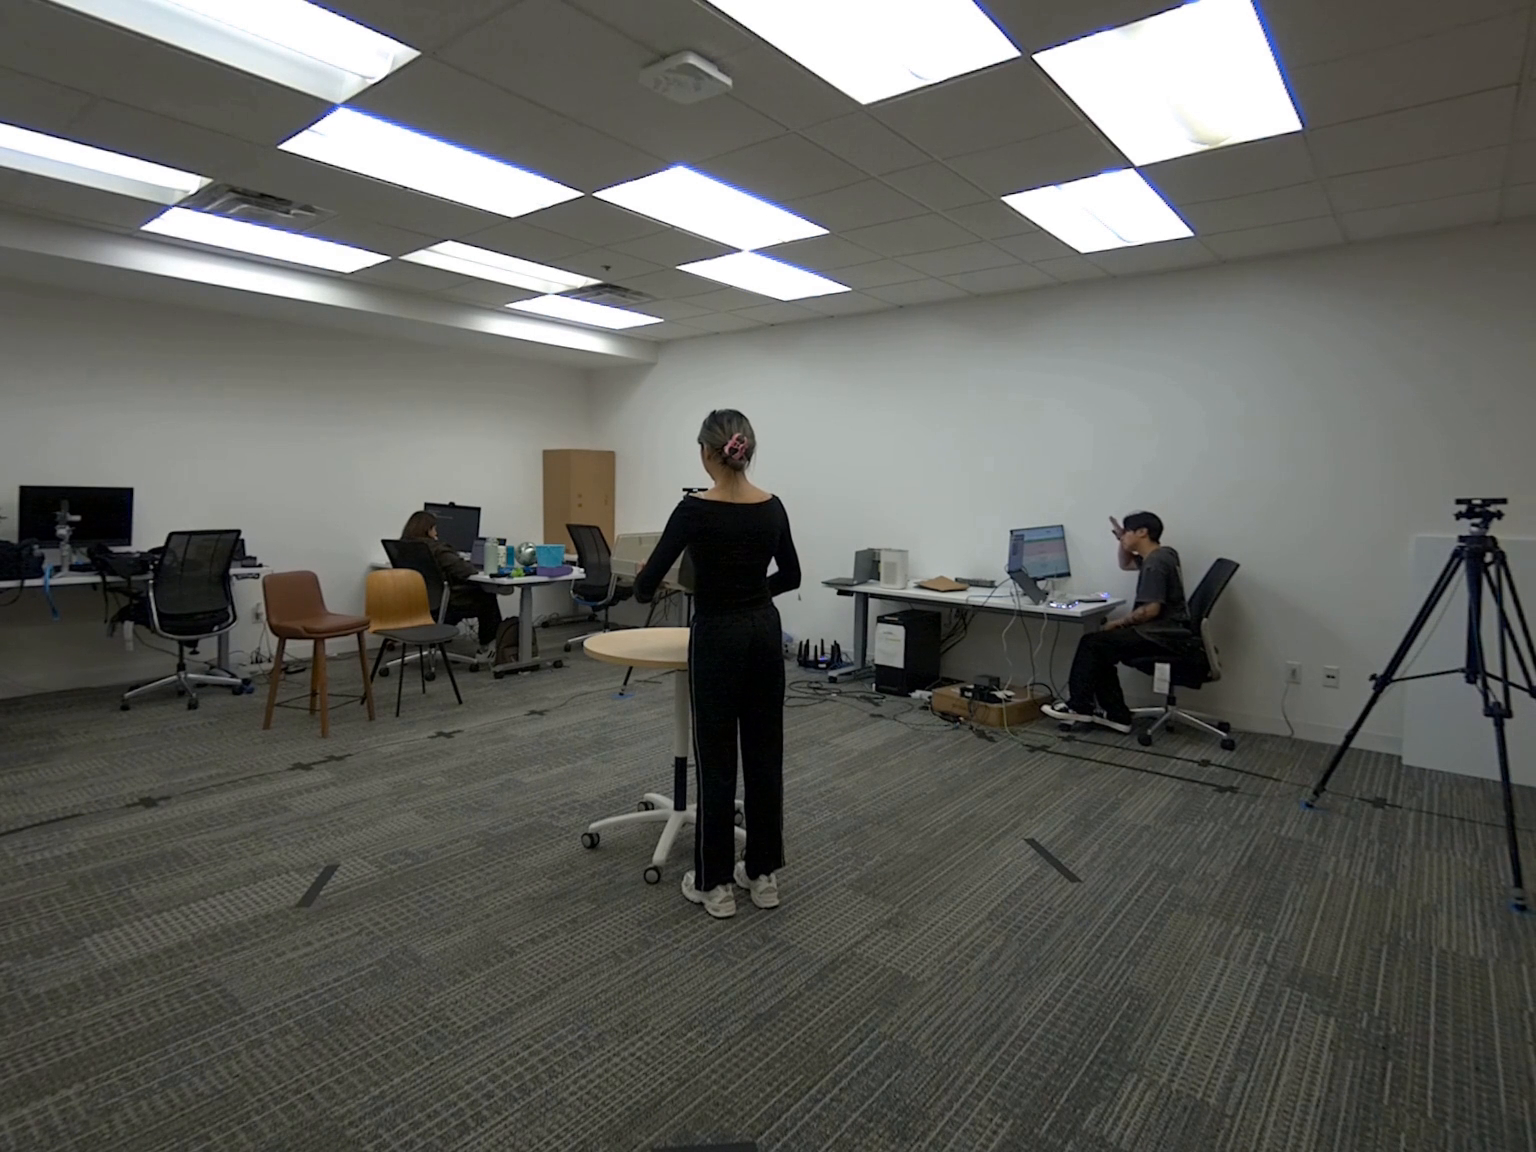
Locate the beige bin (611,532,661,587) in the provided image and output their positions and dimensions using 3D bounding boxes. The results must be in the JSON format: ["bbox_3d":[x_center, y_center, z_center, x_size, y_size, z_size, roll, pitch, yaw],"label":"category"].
[{"bbox_3d":[-0.309,-0.060,3.116,0.366,0.188,0.437,-4,7,-41],"label":"beige bin"}]
